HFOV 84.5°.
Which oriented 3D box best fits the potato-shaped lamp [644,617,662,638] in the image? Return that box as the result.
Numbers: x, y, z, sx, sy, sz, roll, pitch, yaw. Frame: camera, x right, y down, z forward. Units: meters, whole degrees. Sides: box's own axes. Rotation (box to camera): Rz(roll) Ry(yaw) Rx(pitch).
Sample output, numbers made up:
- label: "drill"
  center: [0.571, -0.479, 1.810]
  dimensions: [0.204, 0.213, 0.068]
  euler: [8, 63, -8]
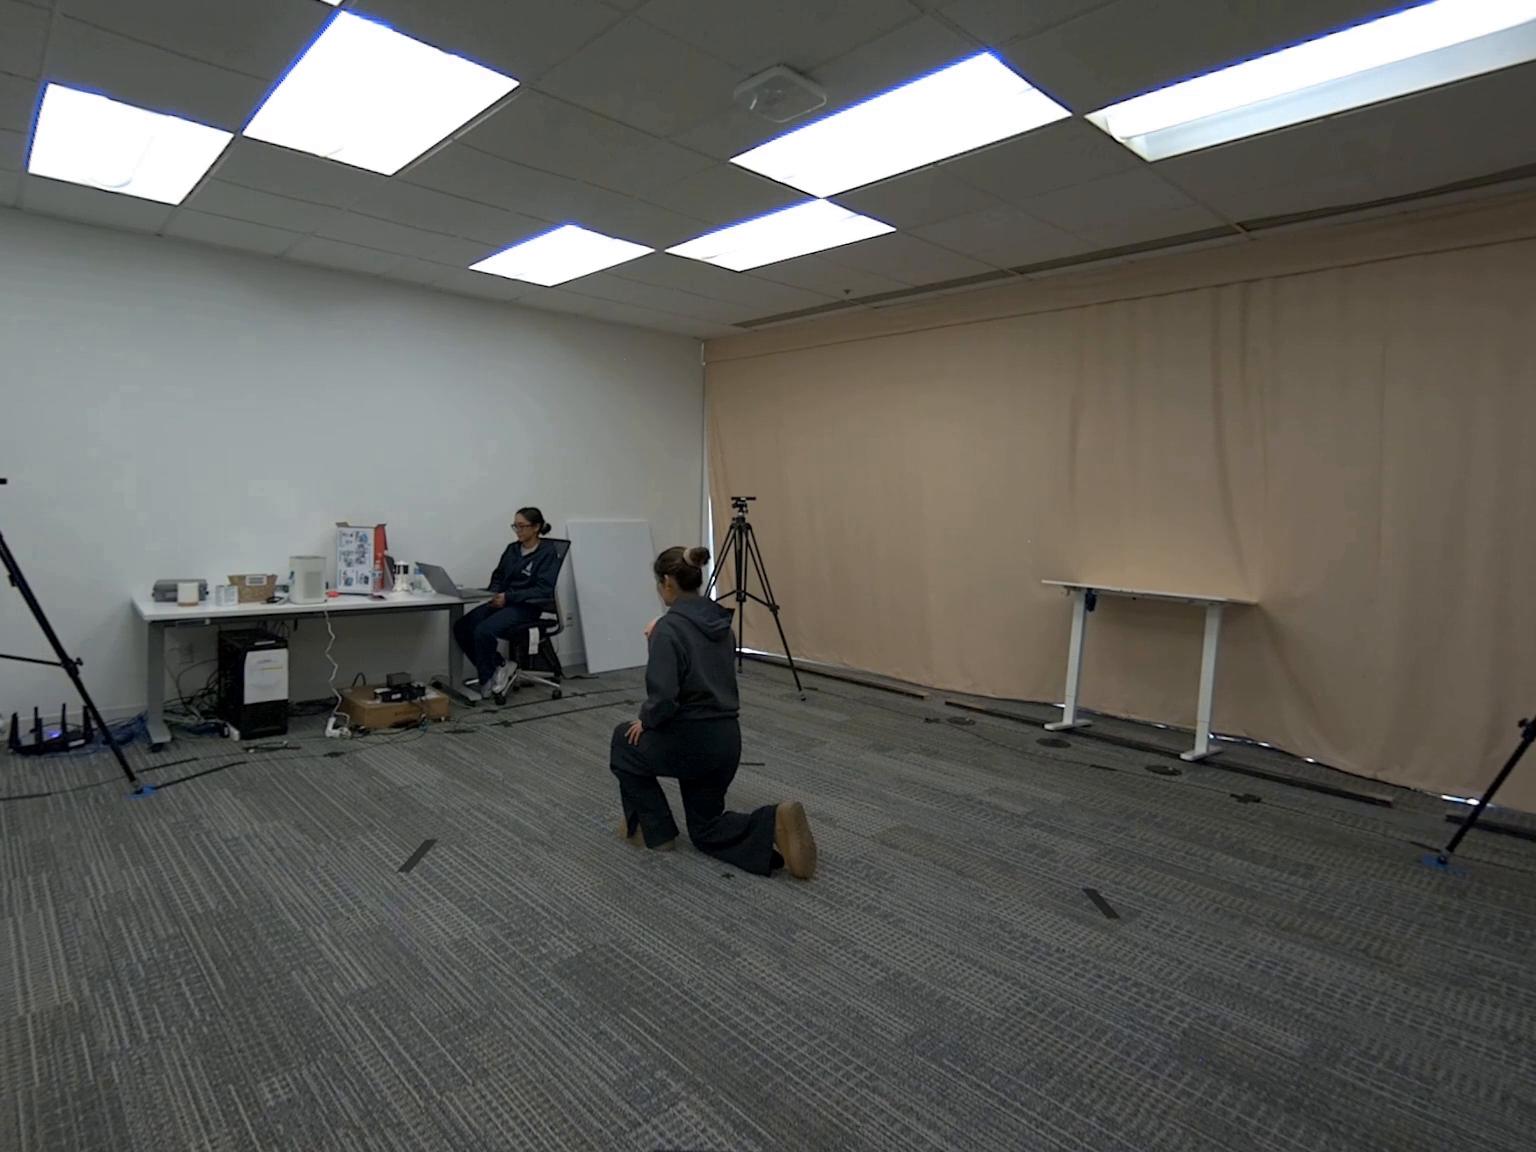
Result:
- label: "potato-shaped lamp"
  center: [-0.448, 0.238, 3.700]
  dimensions: [0.171, 0.166, 0.197]
  euler: [-40, -4, 0]
